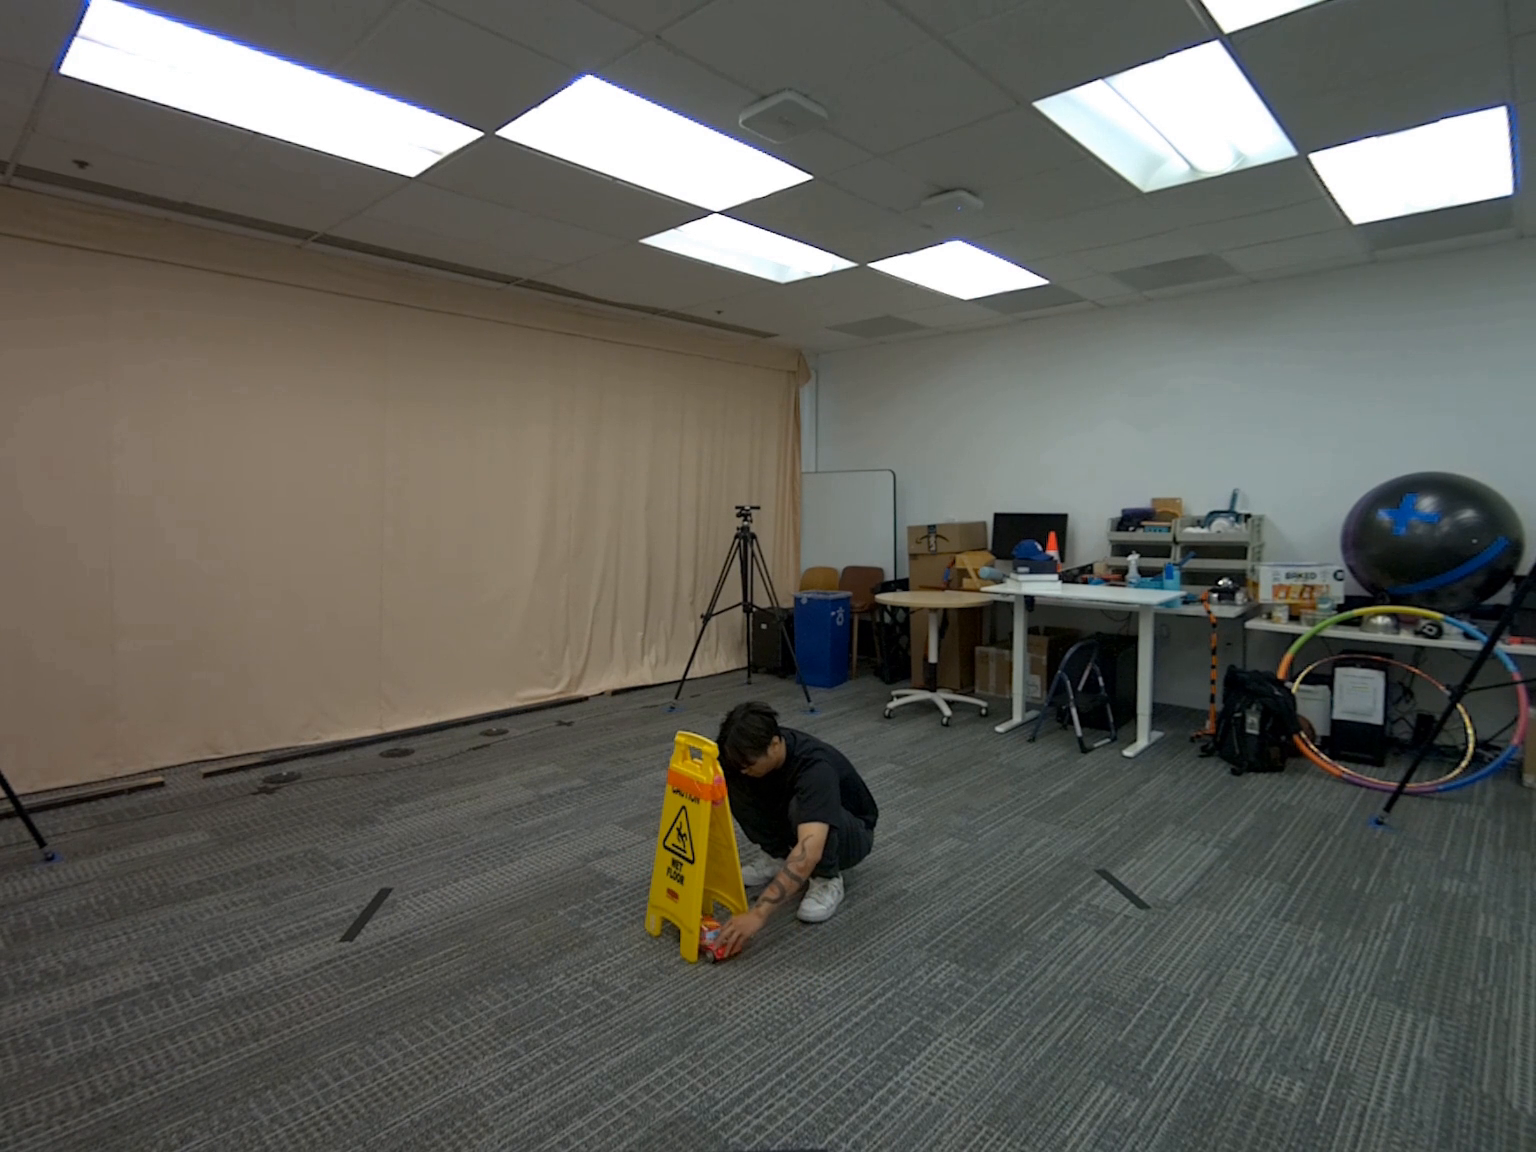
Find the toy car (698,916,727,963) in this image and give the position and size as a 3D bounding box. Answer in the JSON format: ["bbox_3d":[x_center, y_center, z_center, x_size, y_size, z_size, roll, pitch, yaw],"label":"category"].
[{"bbox_3d":[-0.205,1.143,2.666,0.126,0.082,0.264,-5,18,-36],"label":"toy car"}]
